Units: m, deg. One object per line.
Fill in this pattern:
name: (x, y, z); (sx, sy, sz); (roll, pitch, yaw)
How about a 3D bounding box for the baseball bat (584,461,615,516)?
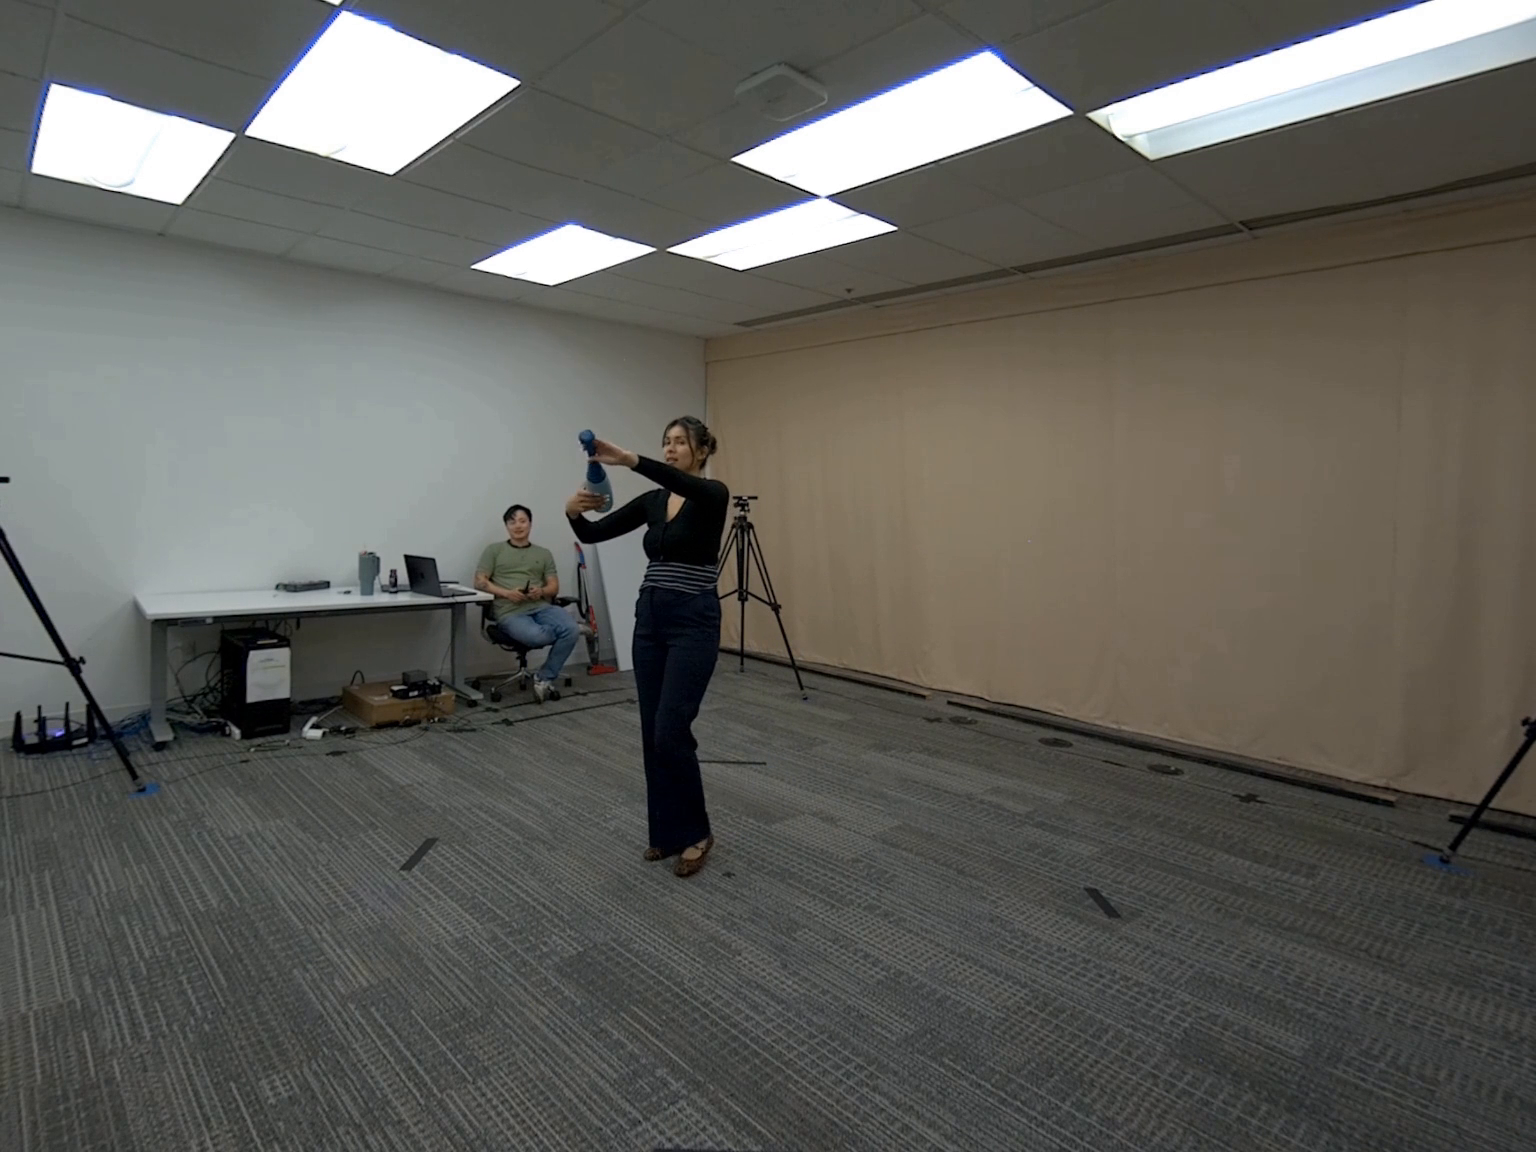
baseball bat: (-0.588, -0.350, 2.856); (0.089, 0.090, 0.536); (2, -19, -4)
